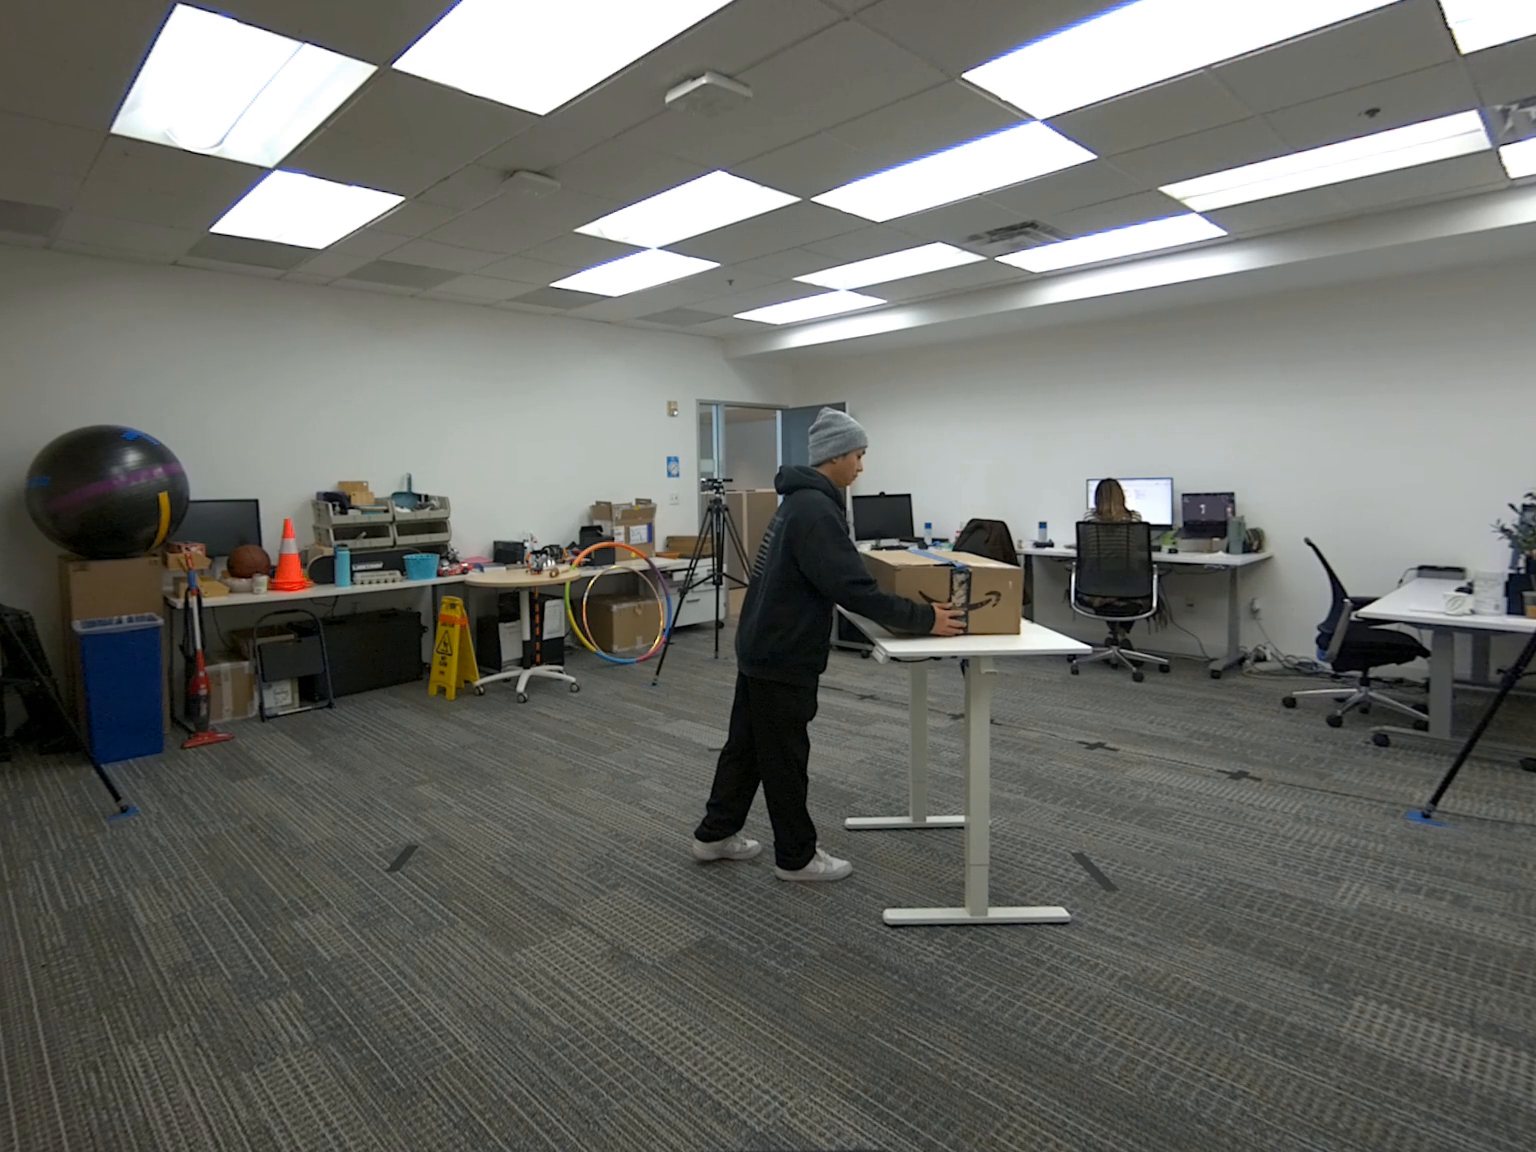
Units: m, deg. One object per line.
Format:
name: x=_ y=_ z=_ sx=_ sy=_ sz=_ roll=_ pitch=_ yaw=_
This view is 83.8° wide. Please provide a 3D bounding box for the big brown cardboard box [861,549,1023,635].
big brown cardboard box: x=0.572 y=0.042 z=2.992 sx=0.416 sy=0.232 sz=0.593 roll=1 pitch=5 yaw=-5
